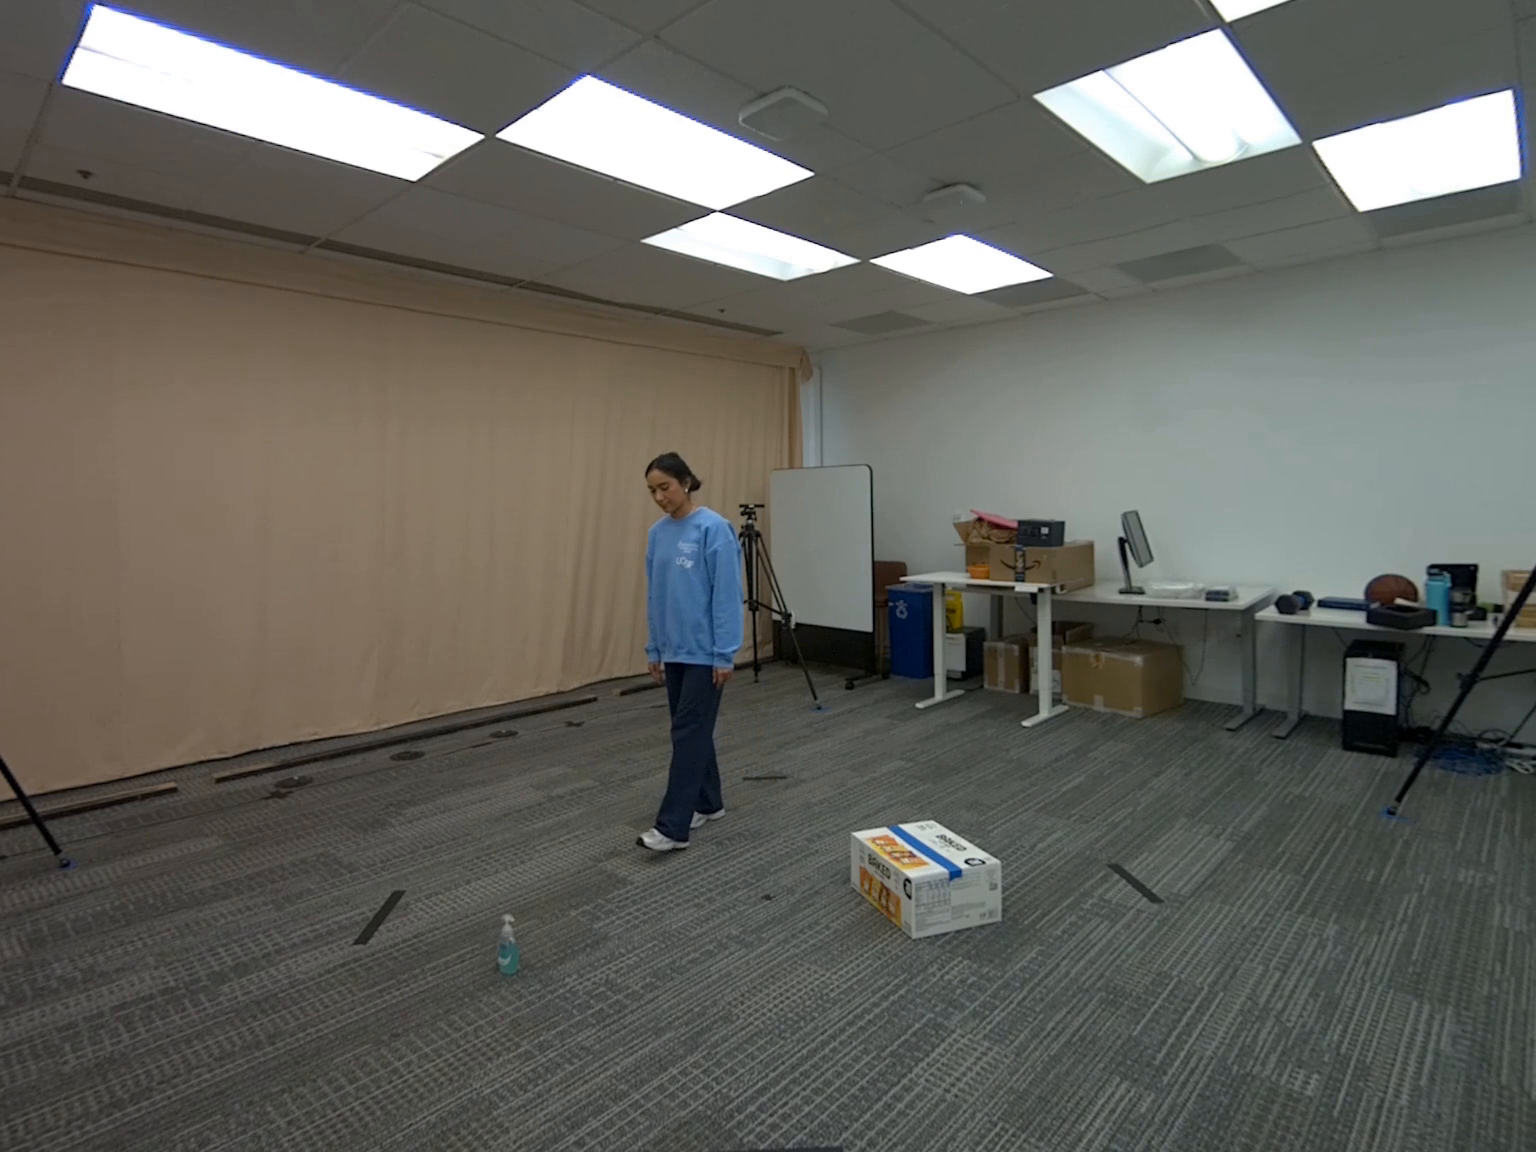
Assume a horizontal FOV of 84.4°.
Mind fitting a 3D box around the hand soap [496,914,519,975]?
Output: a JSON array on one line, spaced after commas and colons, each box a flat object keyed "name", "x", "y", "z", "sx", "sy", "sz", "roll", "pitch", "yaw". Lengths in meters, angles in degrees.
[{"name": "hand soap", "x": -0.787, "y": 1.114, "z": 2.543, "sx": 0.087, "sy": 0.168, "sz": 0.042, "roll": 0, "pitch": 2, "yaw": 35}]
